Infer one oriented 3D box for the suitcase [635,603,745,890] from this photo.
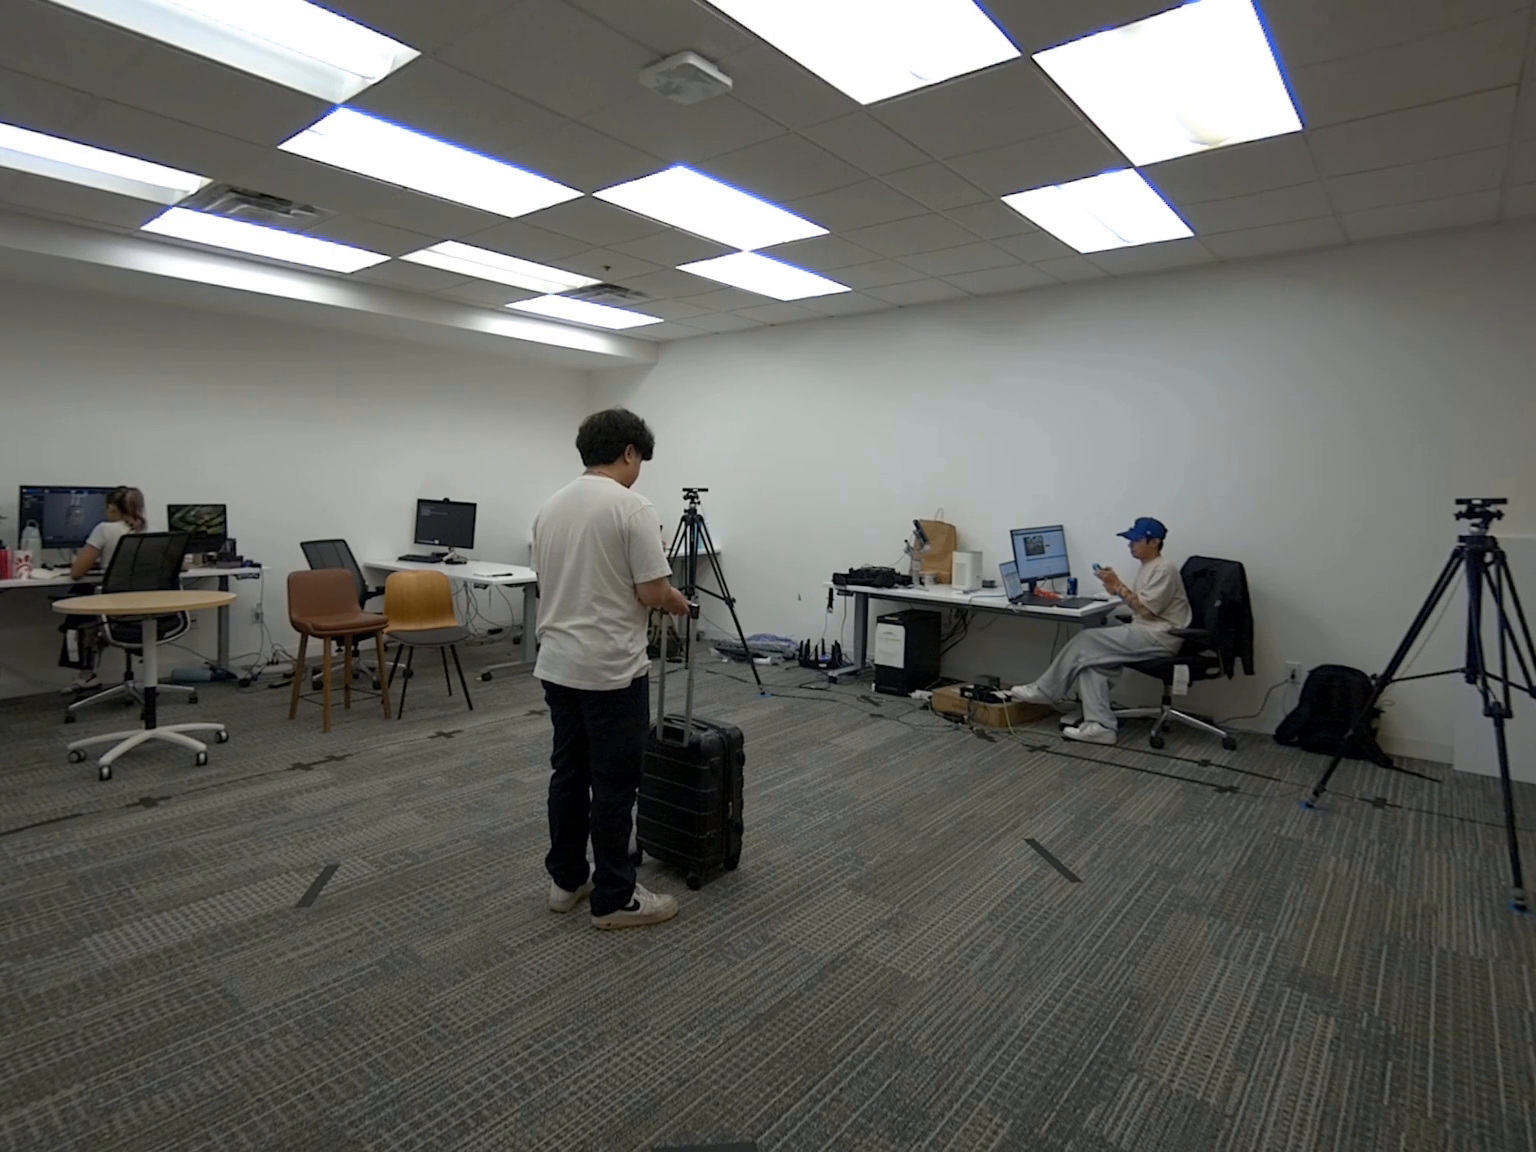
[{"bbox_3d":[-0.284,0.591,3.126,0.397,0.978,0.249,4,0,37],"label":"suitcase"}]
